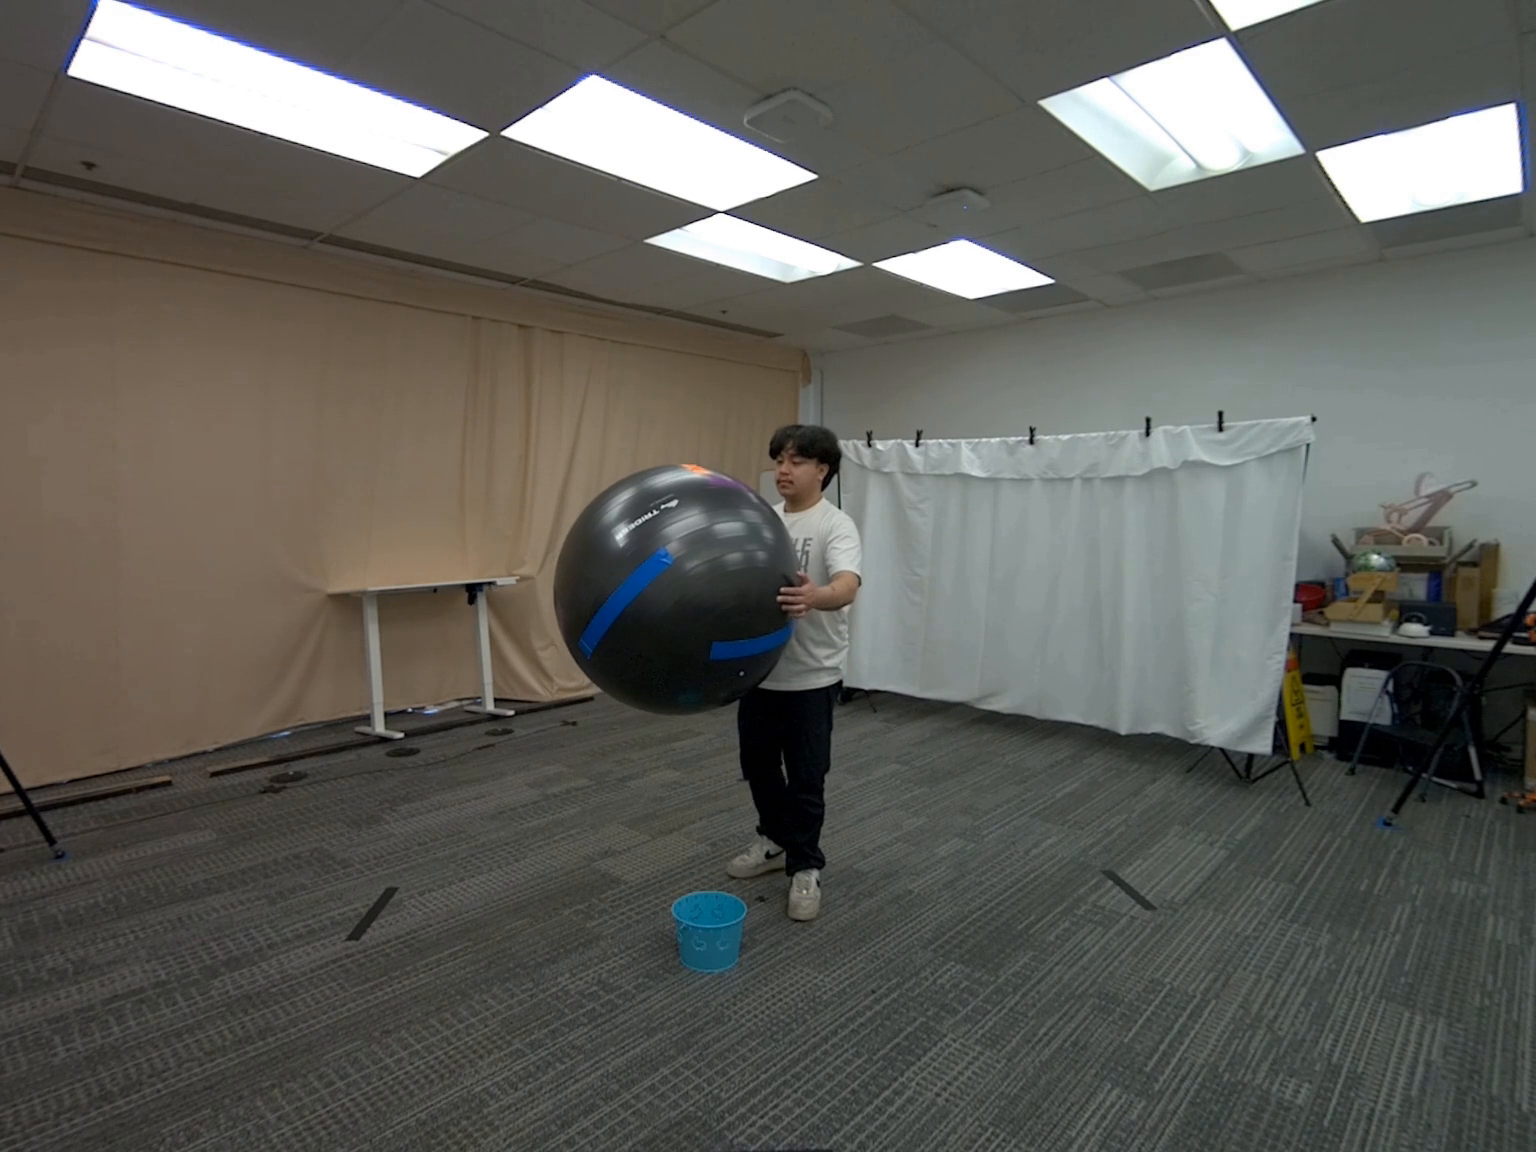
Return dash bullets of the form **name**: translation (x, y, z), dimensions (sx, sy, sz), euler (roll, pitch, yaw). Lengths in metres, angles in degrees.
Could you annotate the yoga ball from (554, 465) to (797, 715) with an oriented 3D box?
- **yoga ball**: translation (-0.288, 0.051, 2.579), dimensions (0.757, 0.756, 0.760), euler (0, 4, -2)
